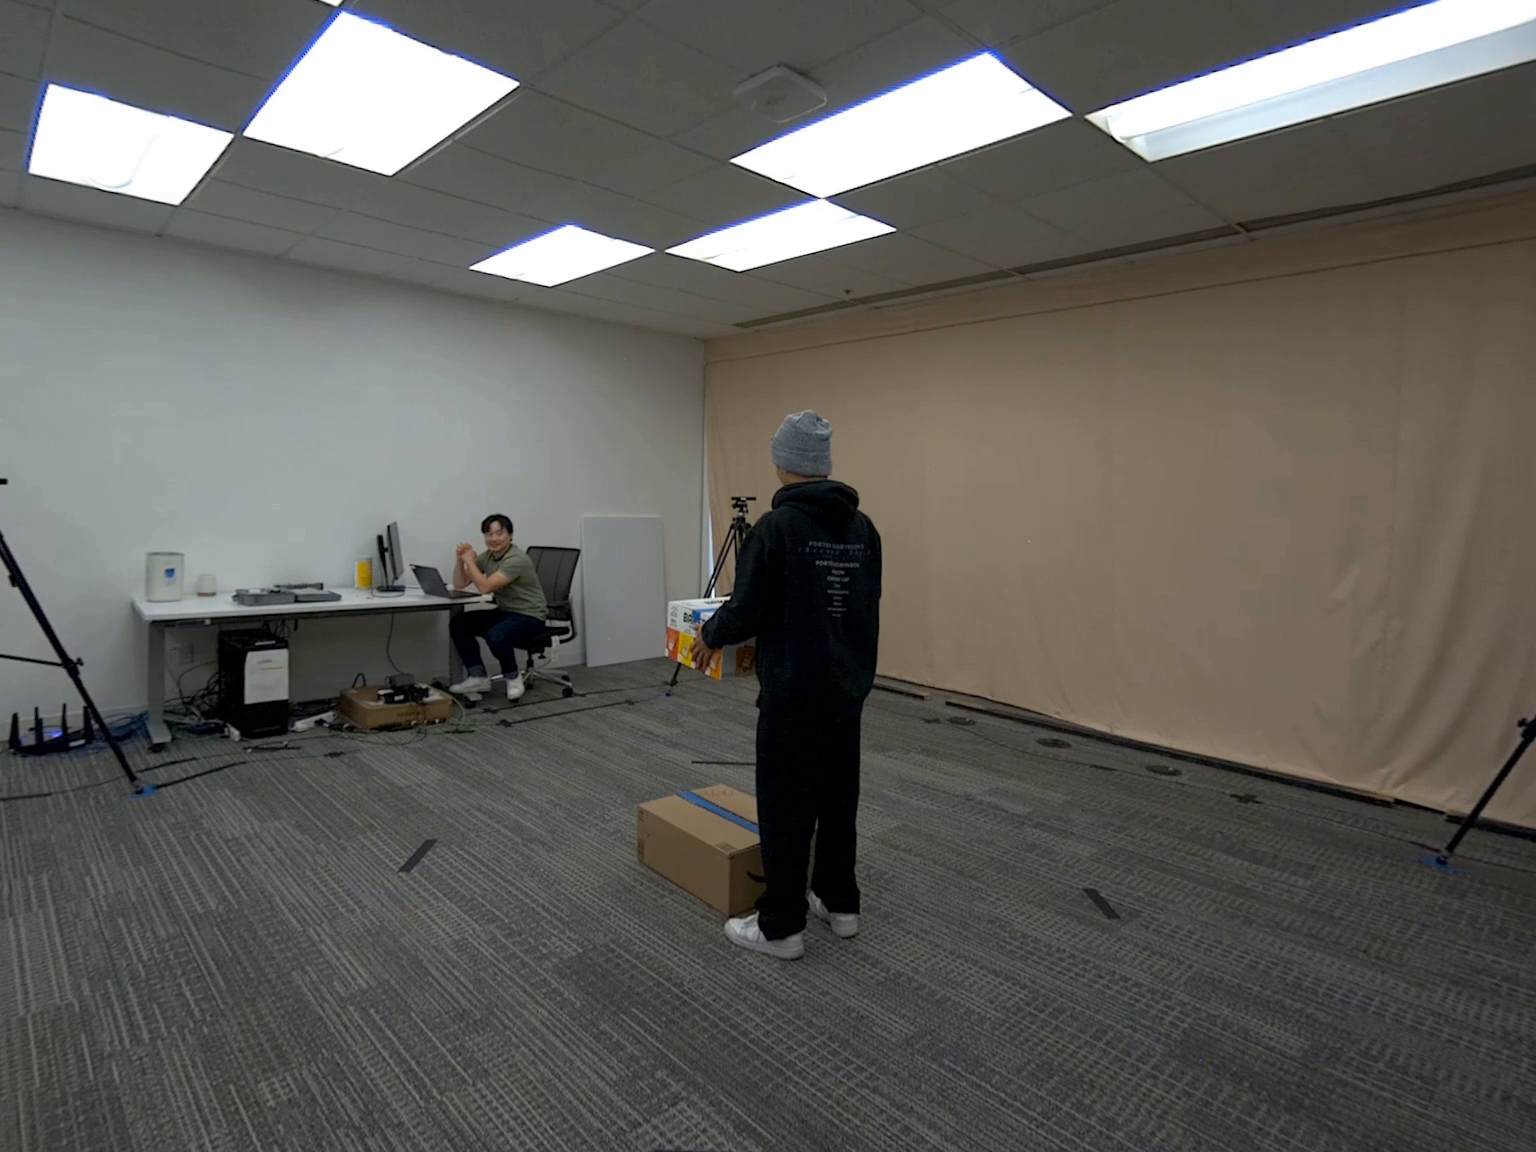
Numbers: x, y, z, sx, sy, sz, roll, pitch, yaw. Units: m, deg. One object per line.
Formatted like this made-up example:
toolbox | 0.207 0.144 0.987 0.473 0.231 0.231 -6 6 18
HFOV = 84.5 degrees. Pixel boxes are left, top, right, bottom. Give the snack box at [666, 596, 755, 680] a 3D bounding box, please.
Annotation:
snack box | -0.112 0.212 3.043 0.396 0.204 0.350 -3 12 -39
